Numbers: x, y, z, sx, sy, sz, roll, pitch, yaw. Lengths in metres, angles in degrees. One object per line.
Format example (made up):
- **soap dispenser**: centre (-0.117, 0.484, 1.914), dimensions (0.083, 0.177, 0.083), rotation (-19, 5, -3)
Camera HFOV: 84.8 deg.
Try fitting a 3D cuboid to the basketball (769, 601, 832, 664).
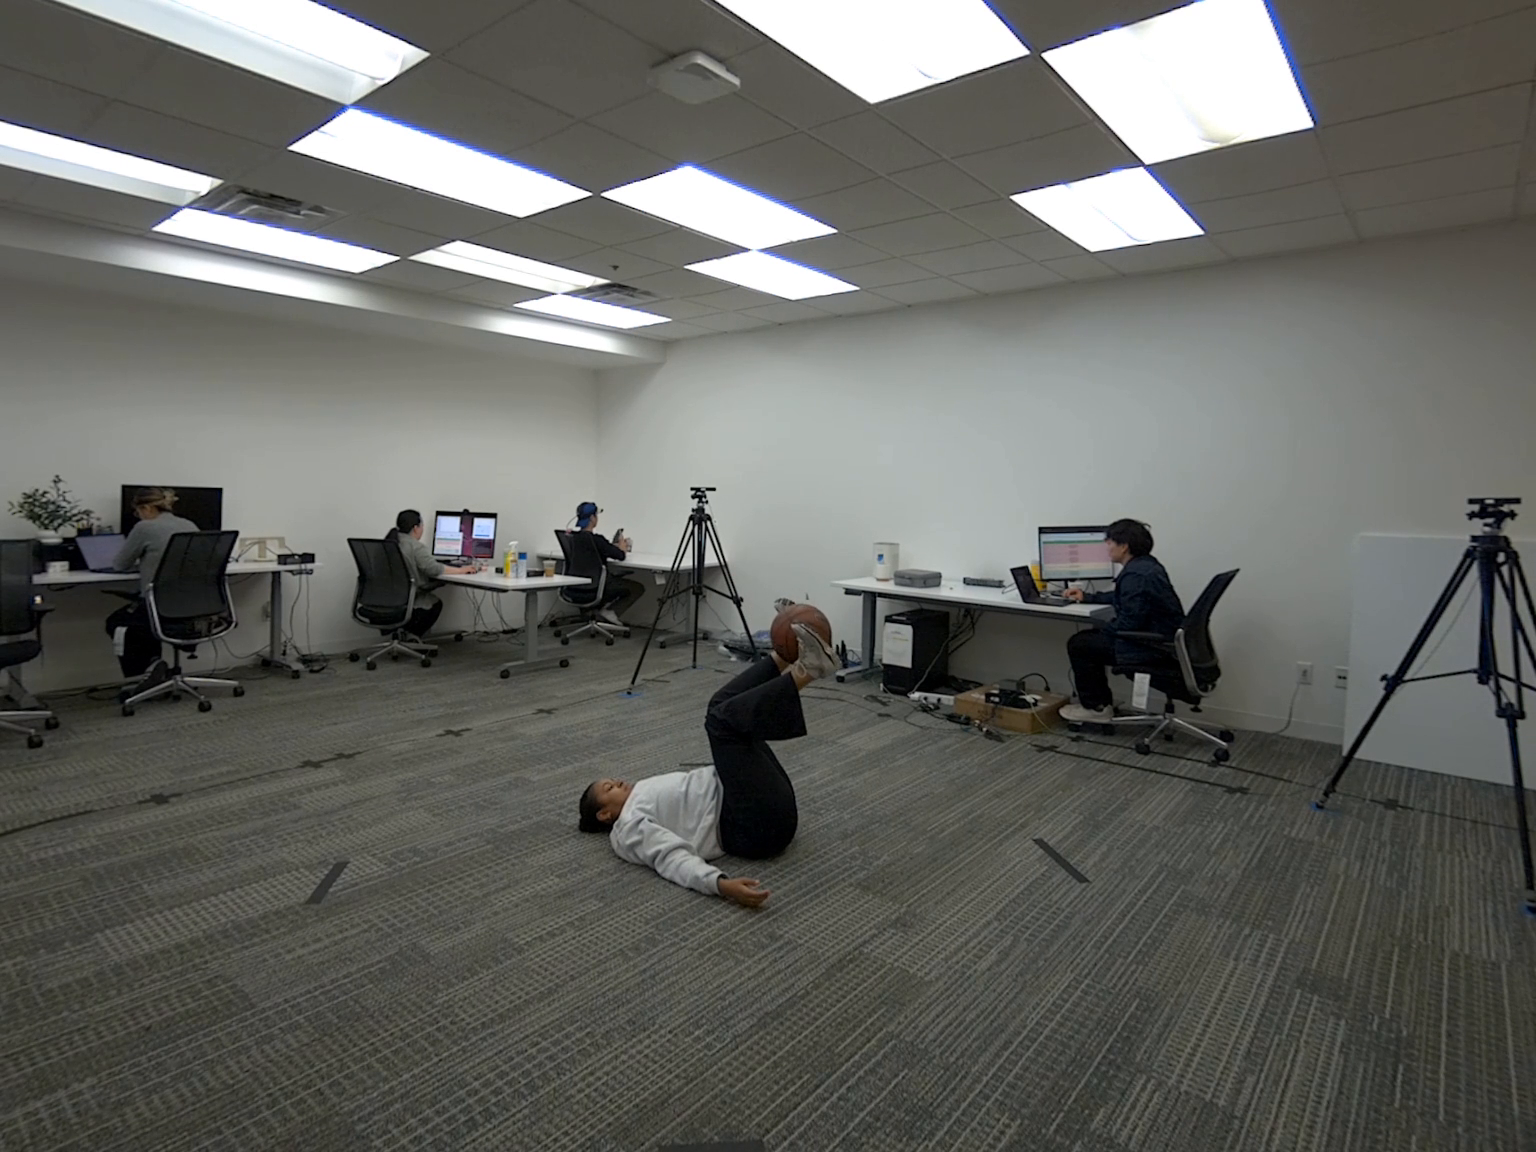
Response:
- **basketball**: centre (0.117, 0.226, 3.307), dimensions (0.236, 0.234, 0.238), rotation (-2, 8, -2)
